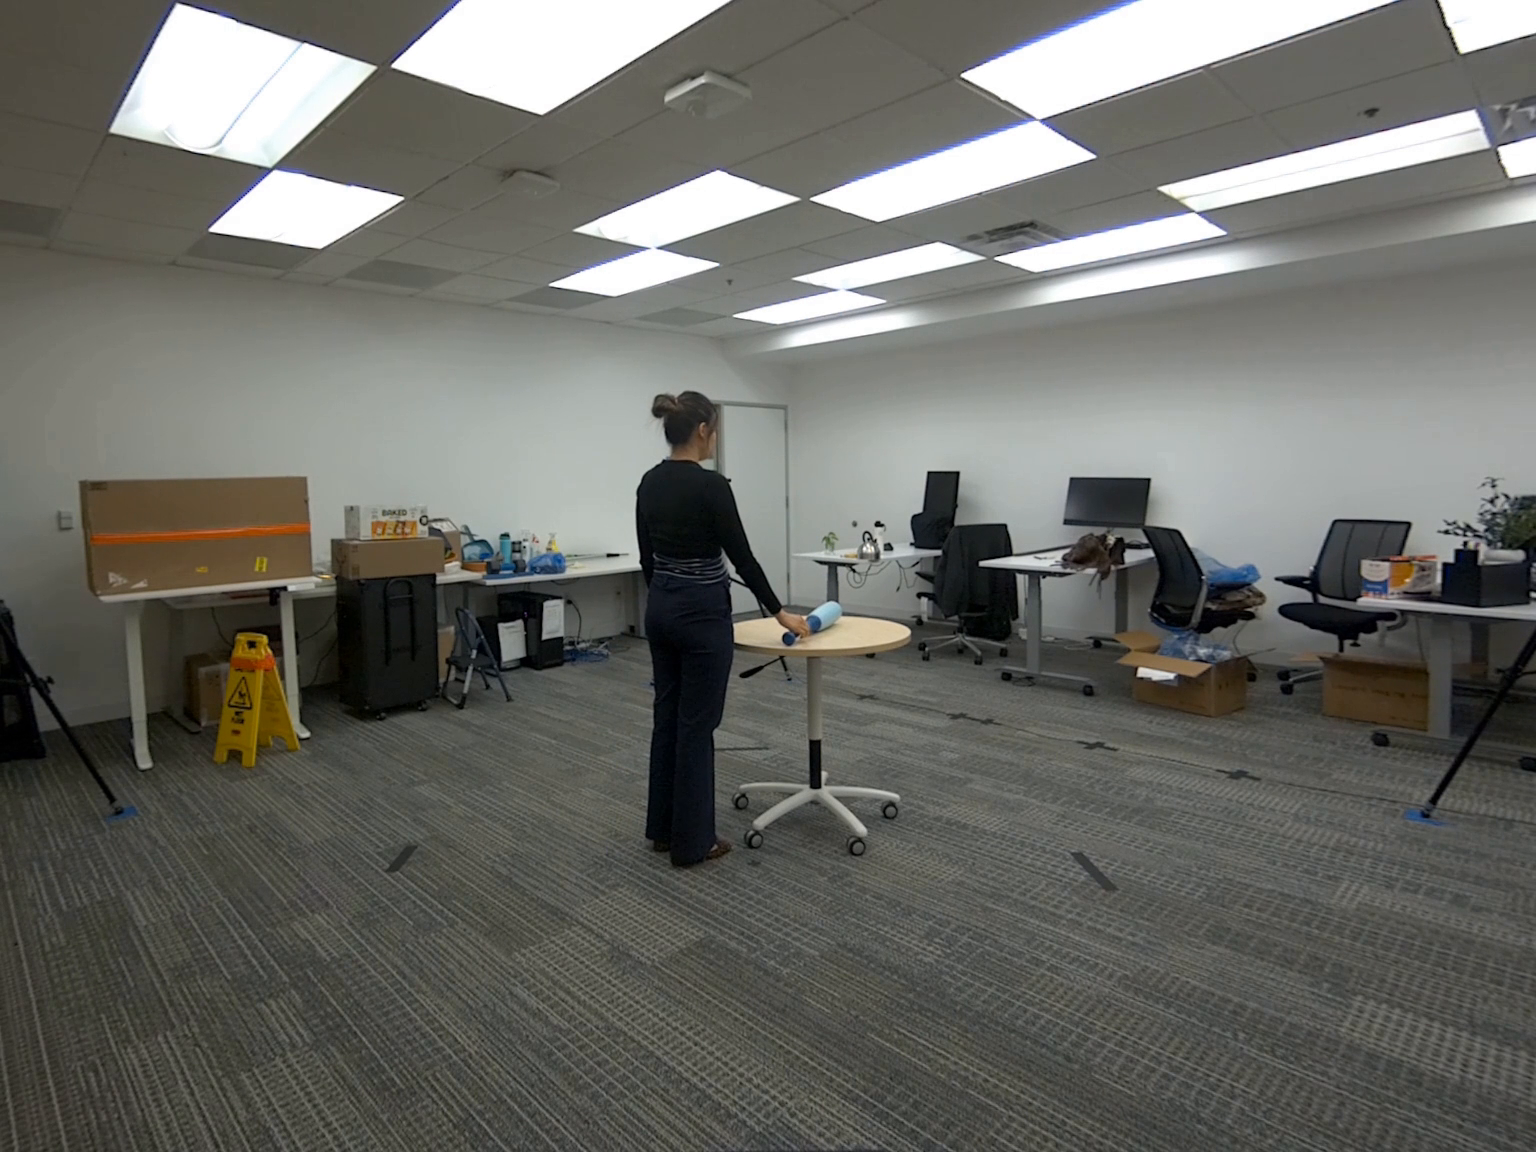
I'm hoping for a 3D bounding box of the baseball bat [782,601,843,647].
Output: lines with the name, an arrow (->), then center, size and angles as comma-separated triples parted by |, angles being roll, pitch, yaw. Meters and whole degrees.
baseball bat -> 0.174, 0.191, 3.366 | 0.091, 0.088, 0.535 | 1, 9, 21
